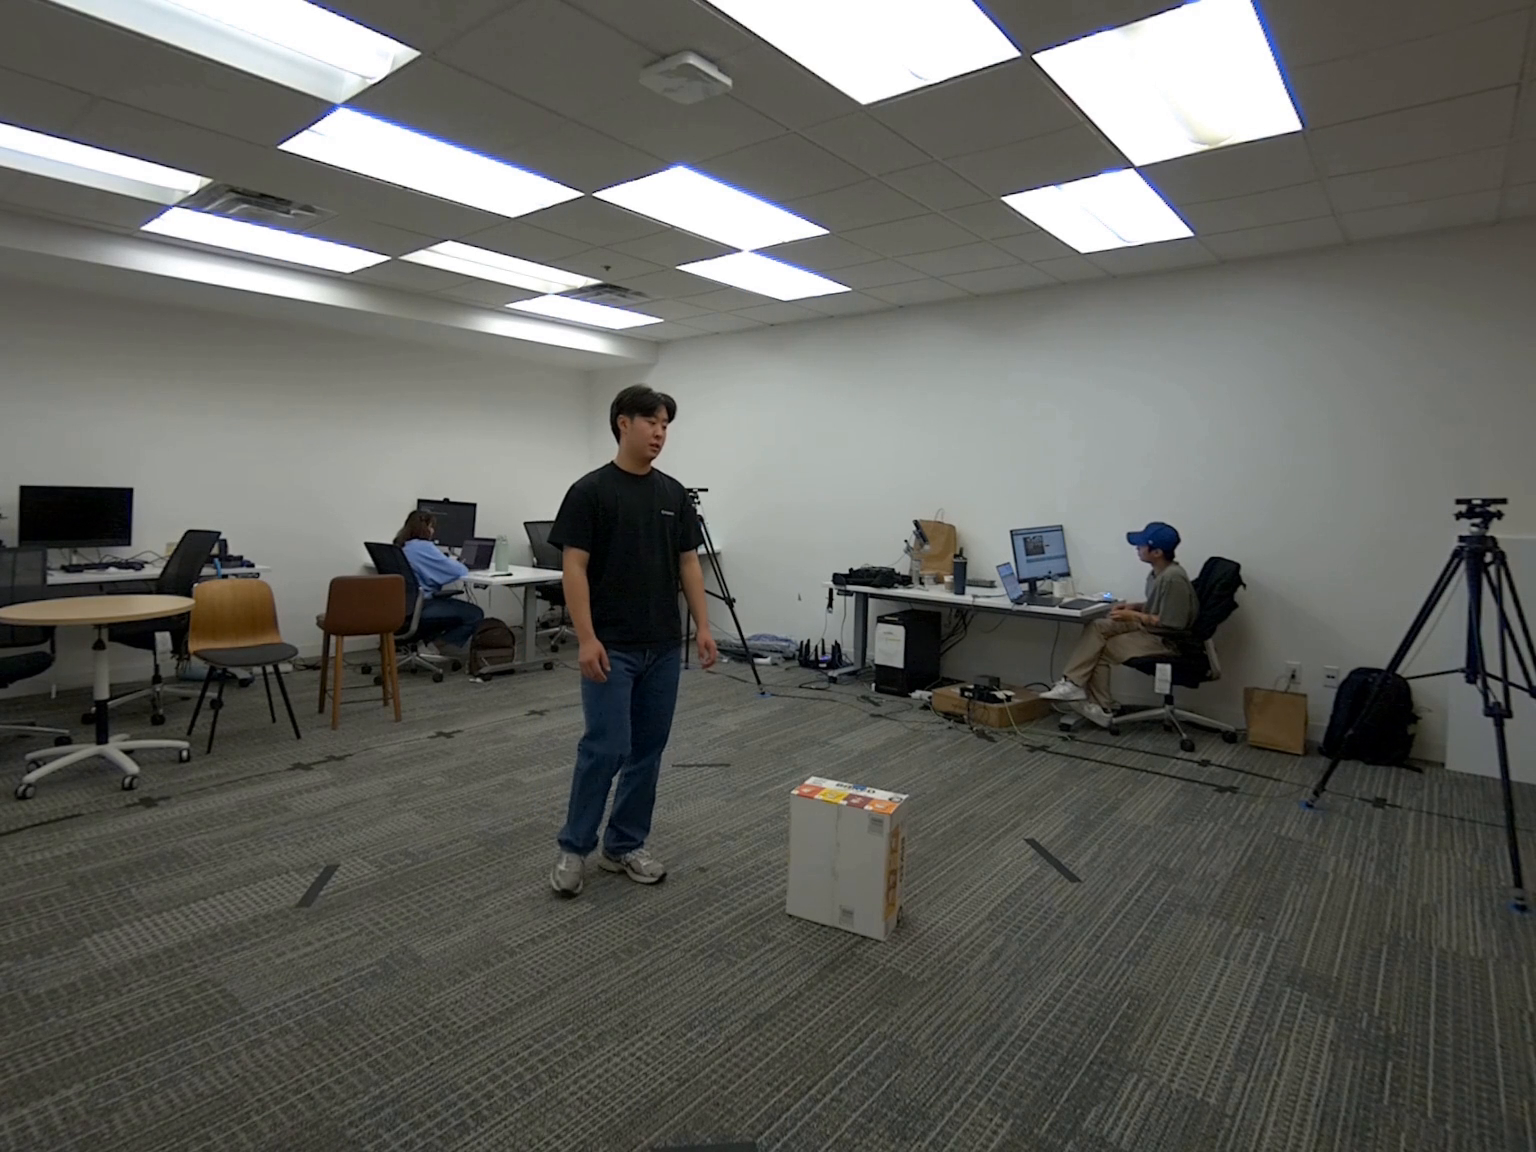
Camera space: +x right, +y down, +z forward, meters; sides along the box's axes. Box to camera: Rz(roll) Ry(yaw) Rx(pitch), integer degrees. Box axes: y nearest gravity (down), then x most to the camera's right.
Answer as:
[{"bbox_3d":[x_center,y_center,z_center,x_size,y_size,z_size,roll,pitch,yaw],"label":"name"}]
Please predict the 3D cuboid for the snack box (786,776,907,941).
[{"bbox_3d":[0.252,0.908,2.783,0.350,0.404,0.200,3,3,27],"label":"snack box"}]
